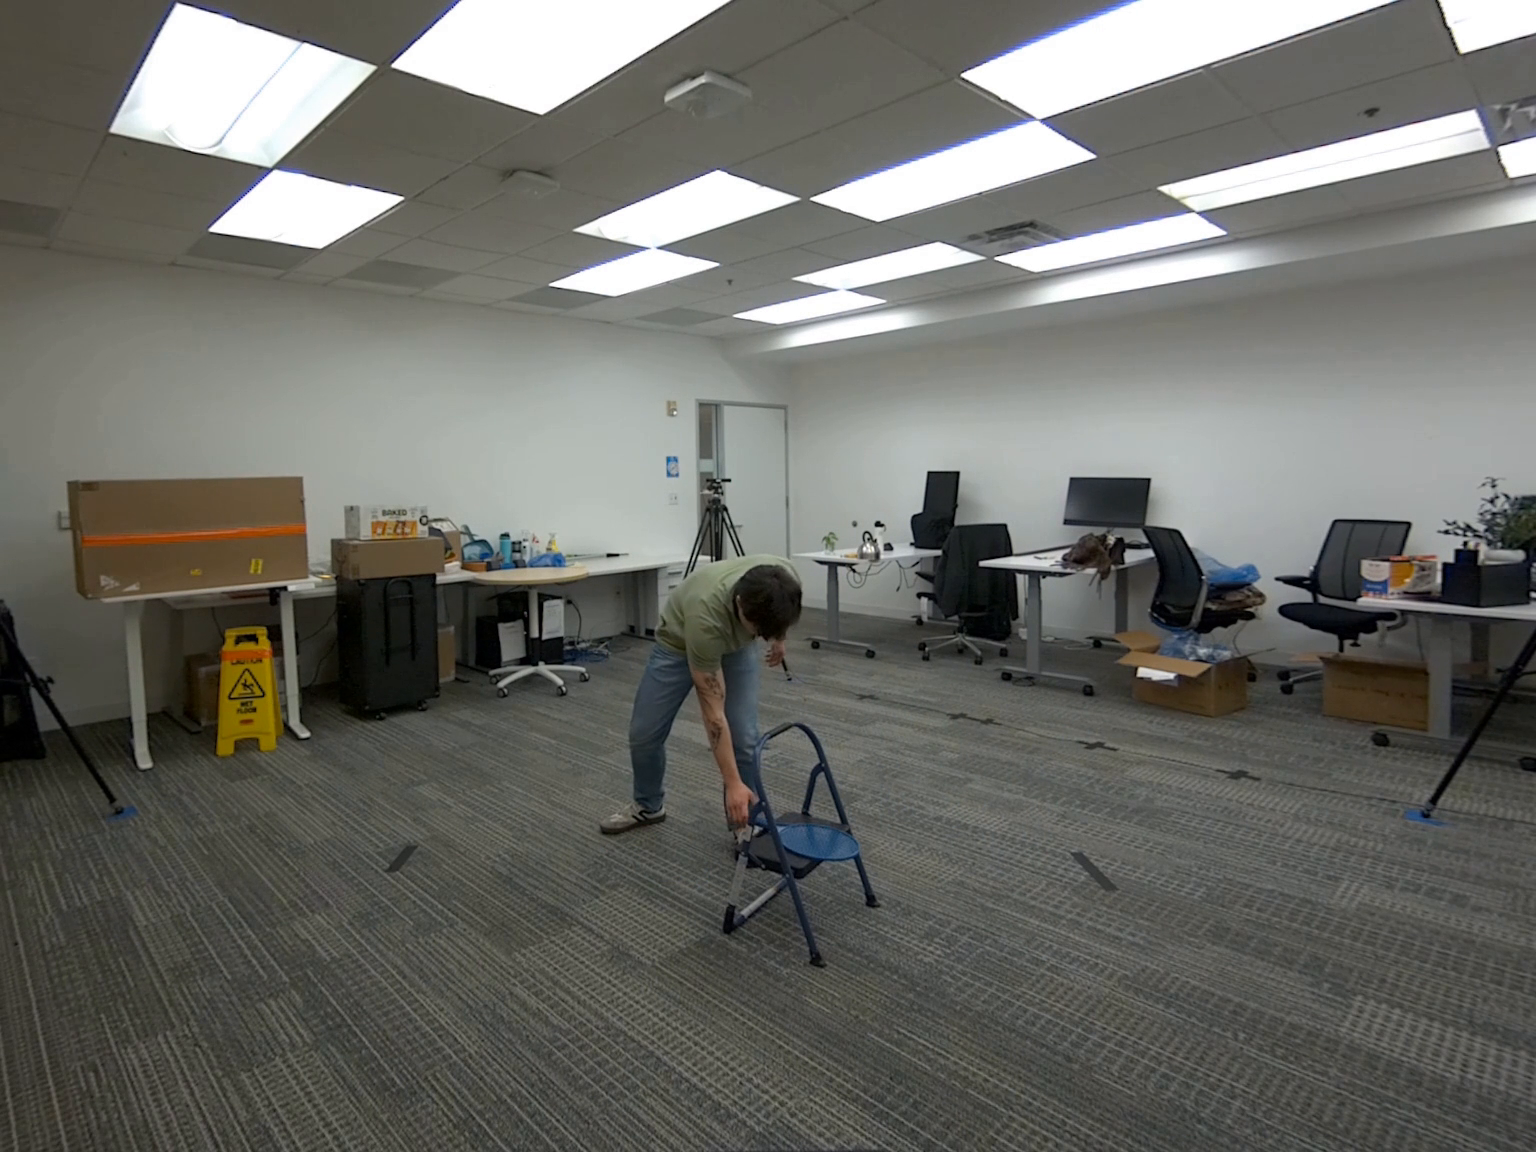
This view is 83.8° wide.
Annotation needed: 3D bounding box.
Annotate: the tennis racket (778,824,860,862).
[{"bbox_3d":[0.101,0.824,2.694,0.446,0.031,0.209,7,13,36],"label":"tennis racket"}]
